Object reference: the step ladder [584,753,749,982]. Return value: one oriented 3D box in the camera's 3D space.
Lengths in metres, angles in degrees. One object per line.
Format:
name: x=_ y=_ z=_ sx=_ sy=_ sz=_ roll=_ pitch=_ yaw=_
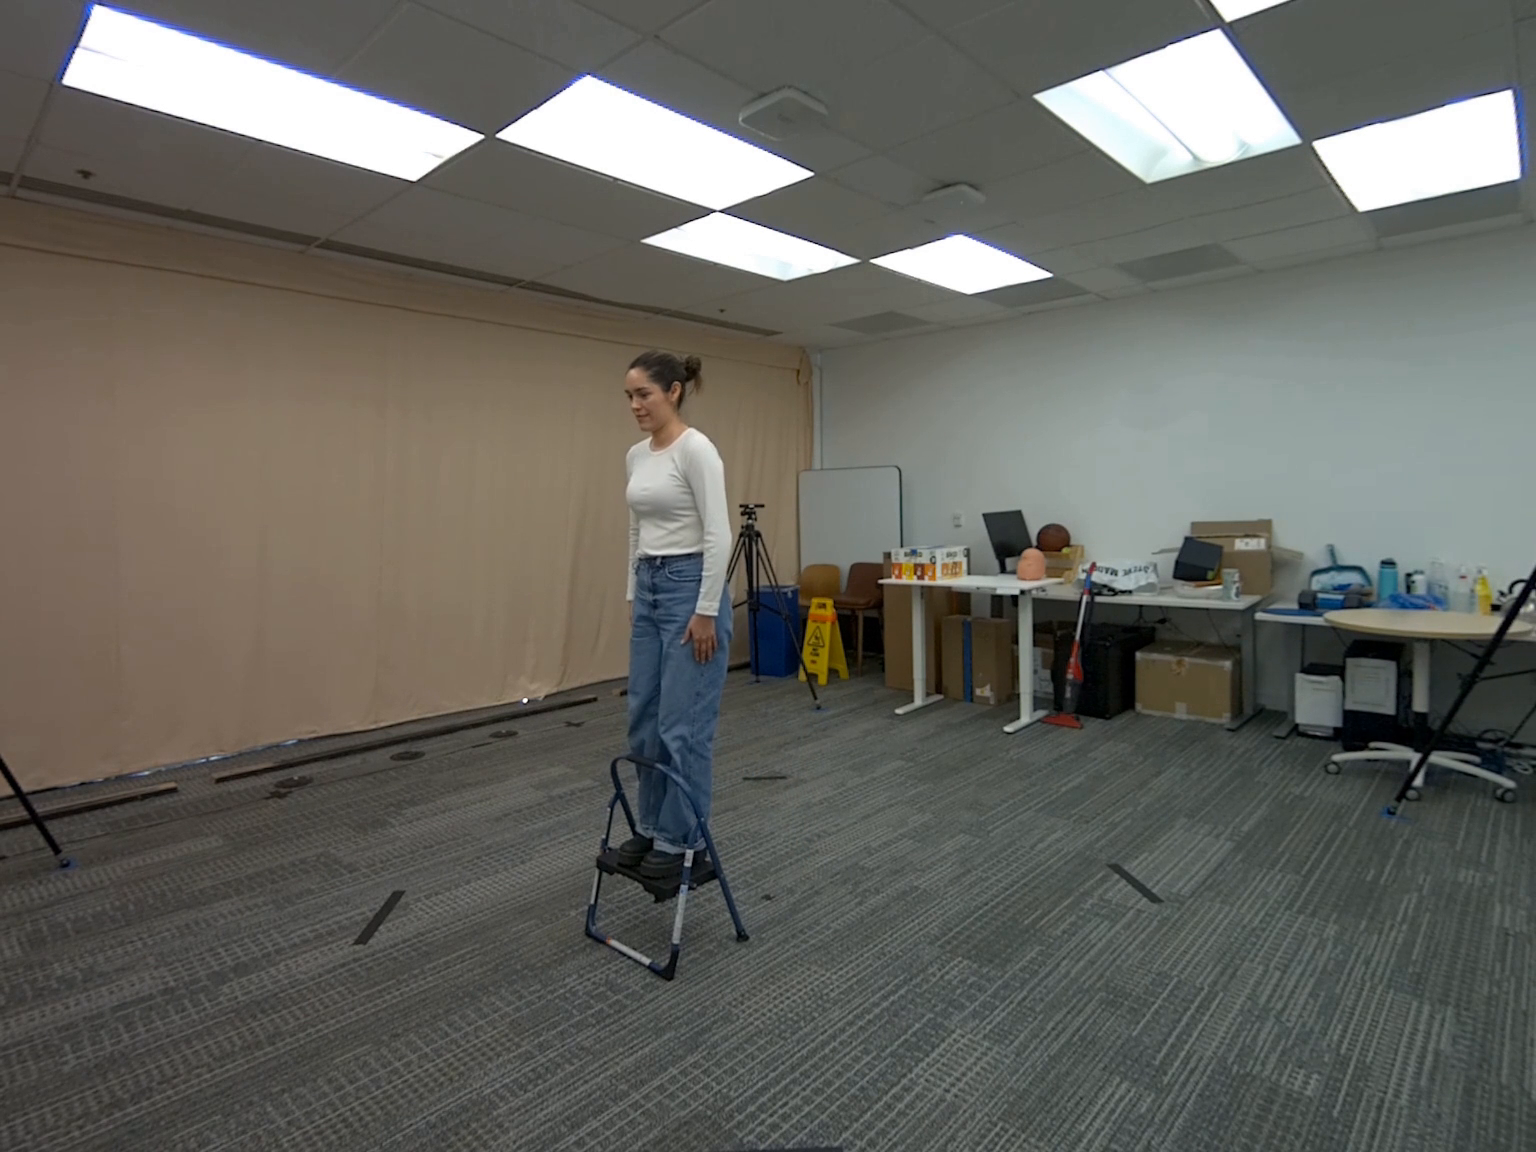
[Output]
step ladder: x=-0.337 y=0.868 z=2.715 sx=0.445 sy=0.605 sz=0.339 roll=2 pitch=4 yaw=42
